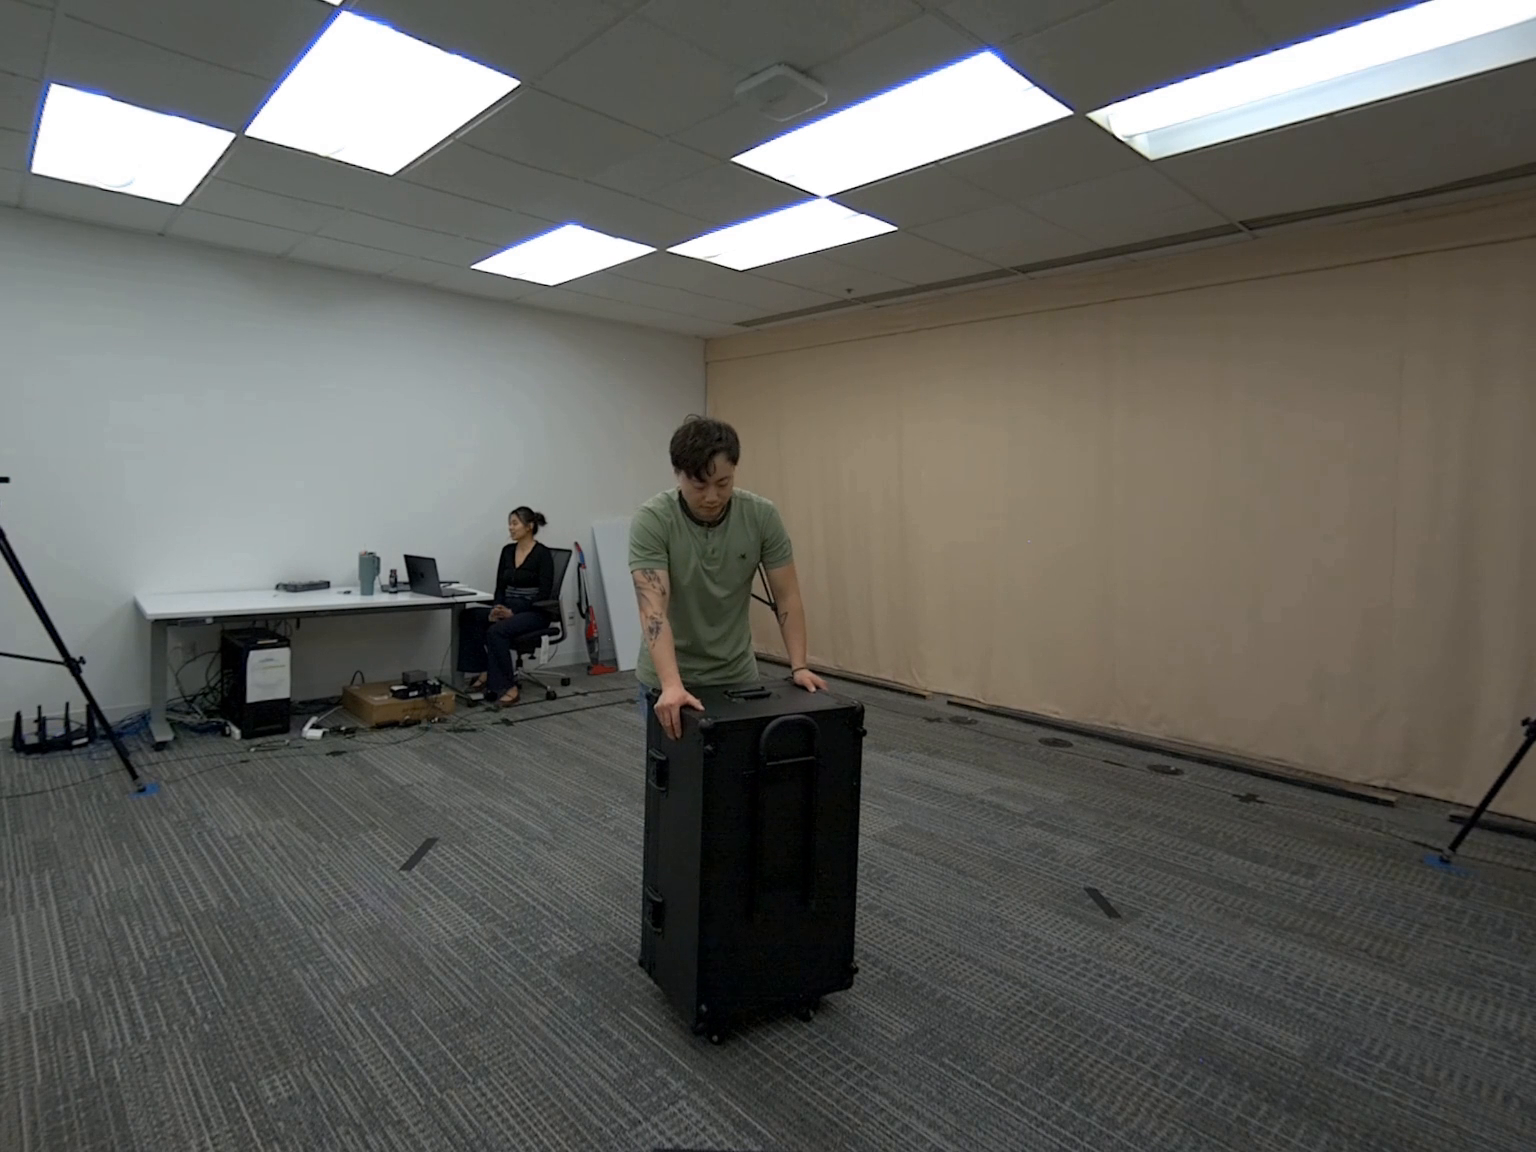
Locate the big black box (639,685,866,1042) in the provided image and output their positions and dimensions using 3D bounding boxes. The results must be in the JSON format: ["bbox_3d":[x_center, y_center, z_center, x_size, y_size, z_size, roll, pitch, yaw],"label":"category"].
[{"bbox_3d":[-0.041,0.760,2.288,0.511,0.859,0.405,0,4,-28],"label":"big black box"}]
